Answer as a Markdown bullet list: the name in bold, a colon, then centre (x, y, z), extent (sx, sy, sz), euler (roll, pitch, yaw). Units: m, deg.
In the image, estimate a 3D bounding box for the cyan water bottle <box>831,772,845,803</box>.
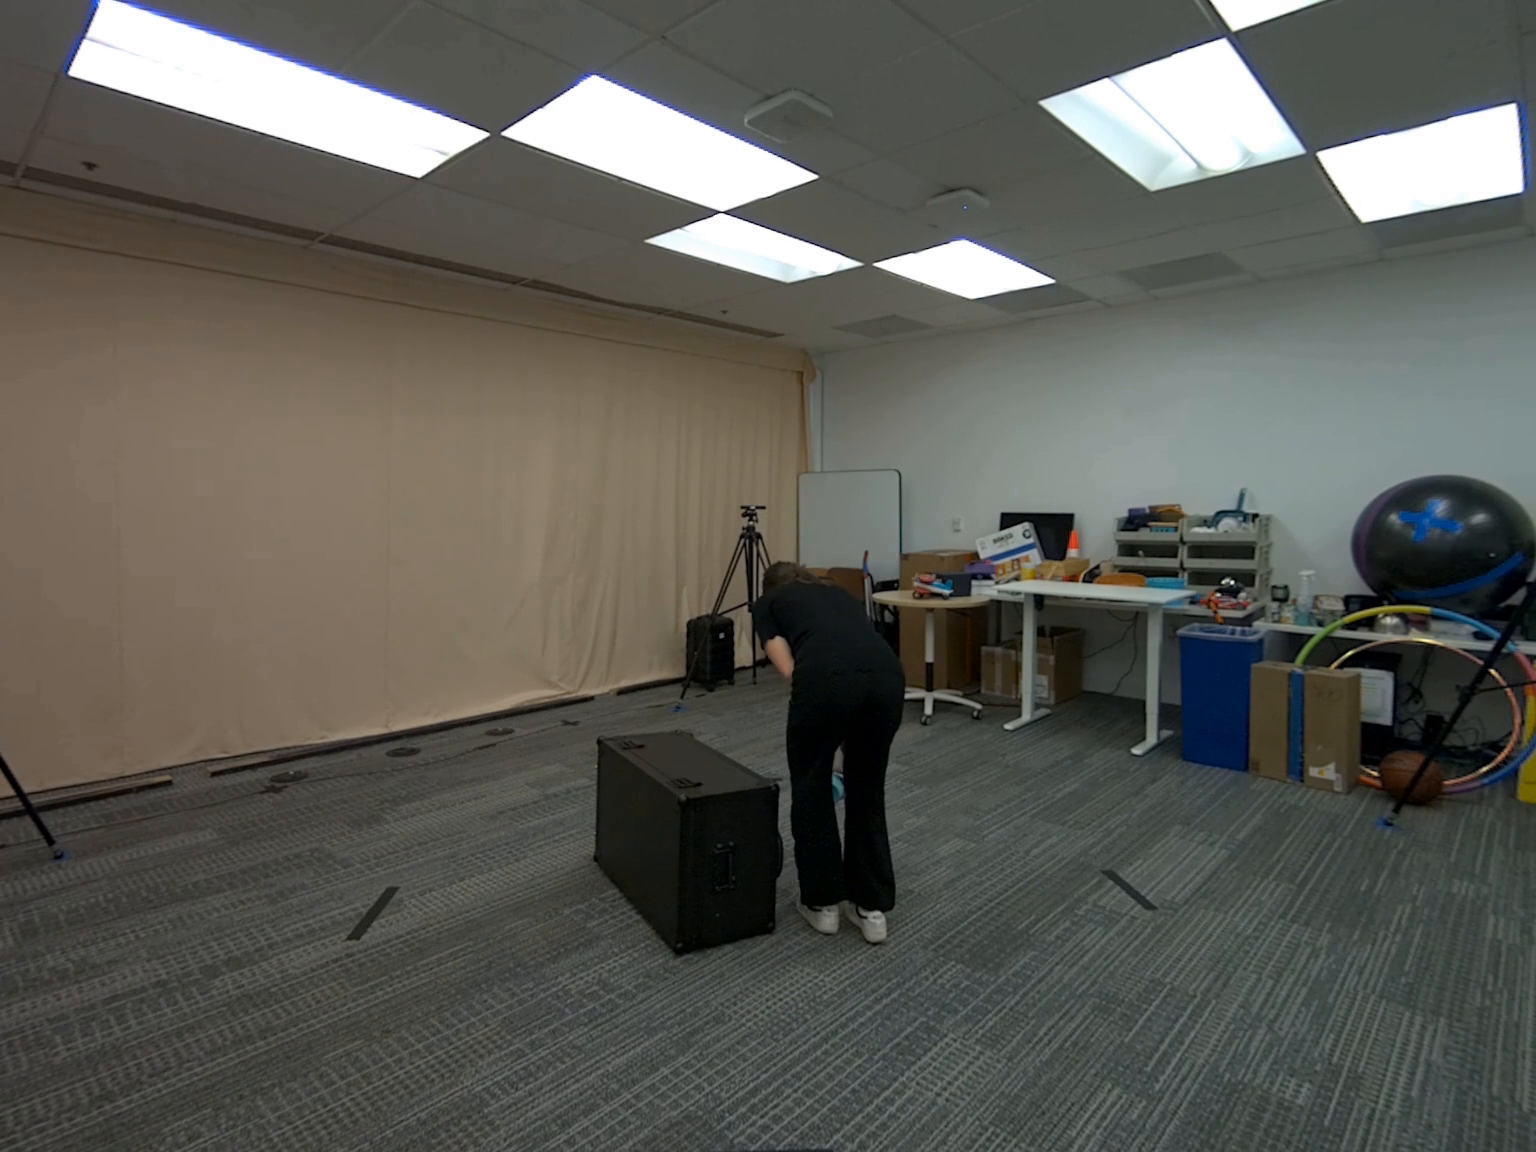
- **cyan water bottle**: centre (0.248, 0.770, 3.085), extent (0.093, 0.092, 0.279), euler (1, -2, 11)
